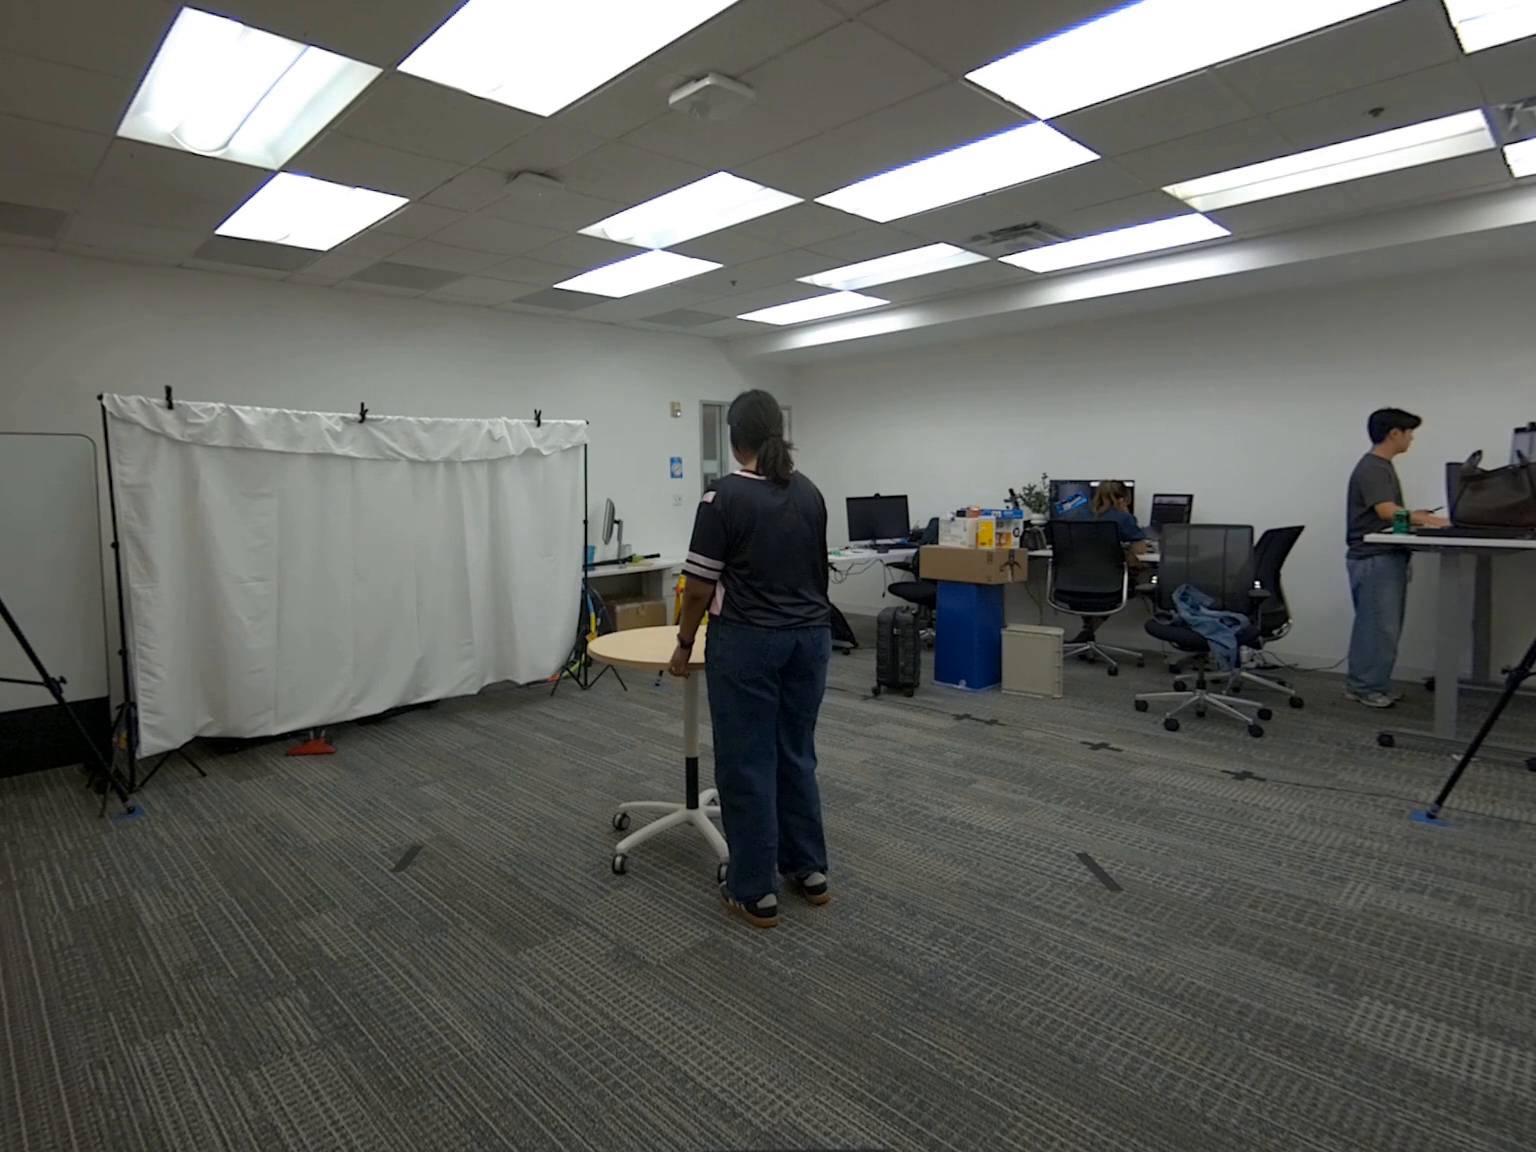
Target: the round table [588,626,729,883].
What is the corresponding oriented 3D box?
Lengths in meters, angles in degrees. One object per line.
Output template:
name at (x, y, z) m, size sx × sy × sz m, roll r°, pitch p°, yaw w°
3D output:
round table at (-0.291, 0.639, 3.261) m, size 0.784 × 0.784 × 0.788 m, roll -1°, pitch 4°, yaw -2°
